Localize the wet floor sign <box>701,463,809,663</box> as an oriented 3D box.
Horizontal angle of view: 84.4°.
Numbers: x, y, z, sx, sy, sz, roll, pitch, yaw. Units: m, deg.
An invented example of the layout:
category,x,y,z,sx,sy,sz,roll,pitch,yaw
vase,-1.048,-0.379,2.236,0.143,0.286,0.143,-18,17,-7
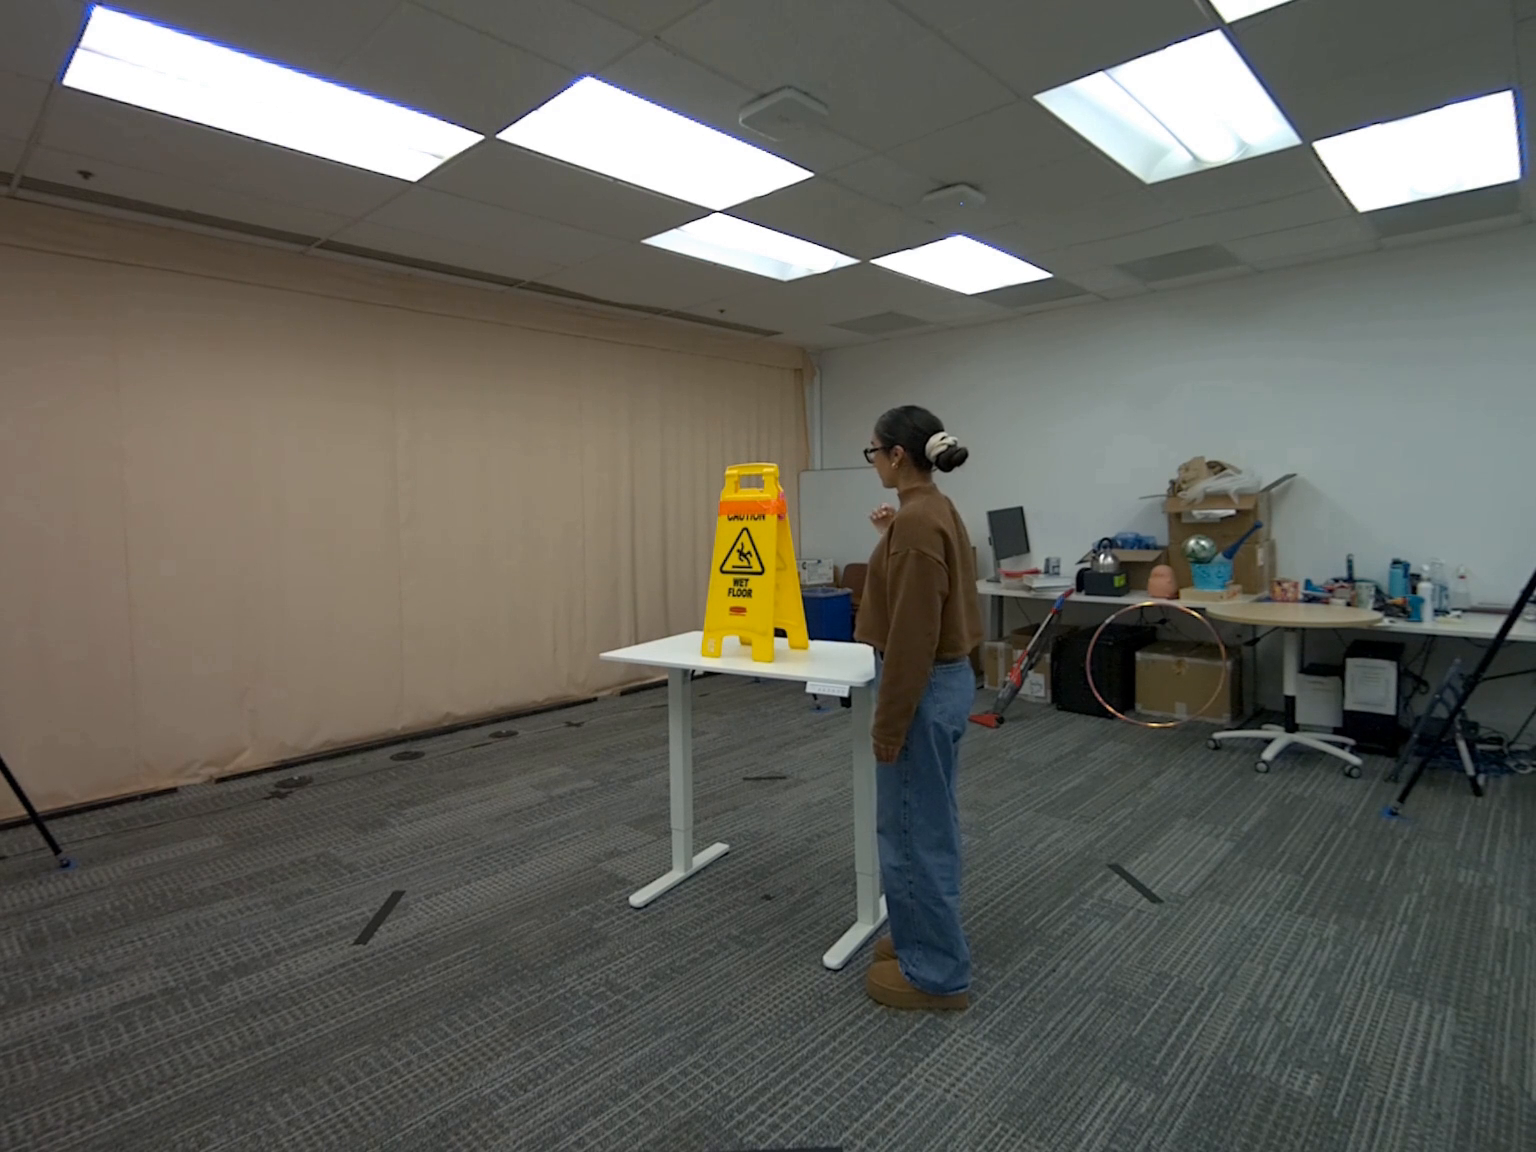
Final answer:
category,x,y,z,sx,sy,sz,roll,pitch,yaw
wet floor sign,-0.042,-0.055,2.890,0.290,0.645,0.282,1,3,31
